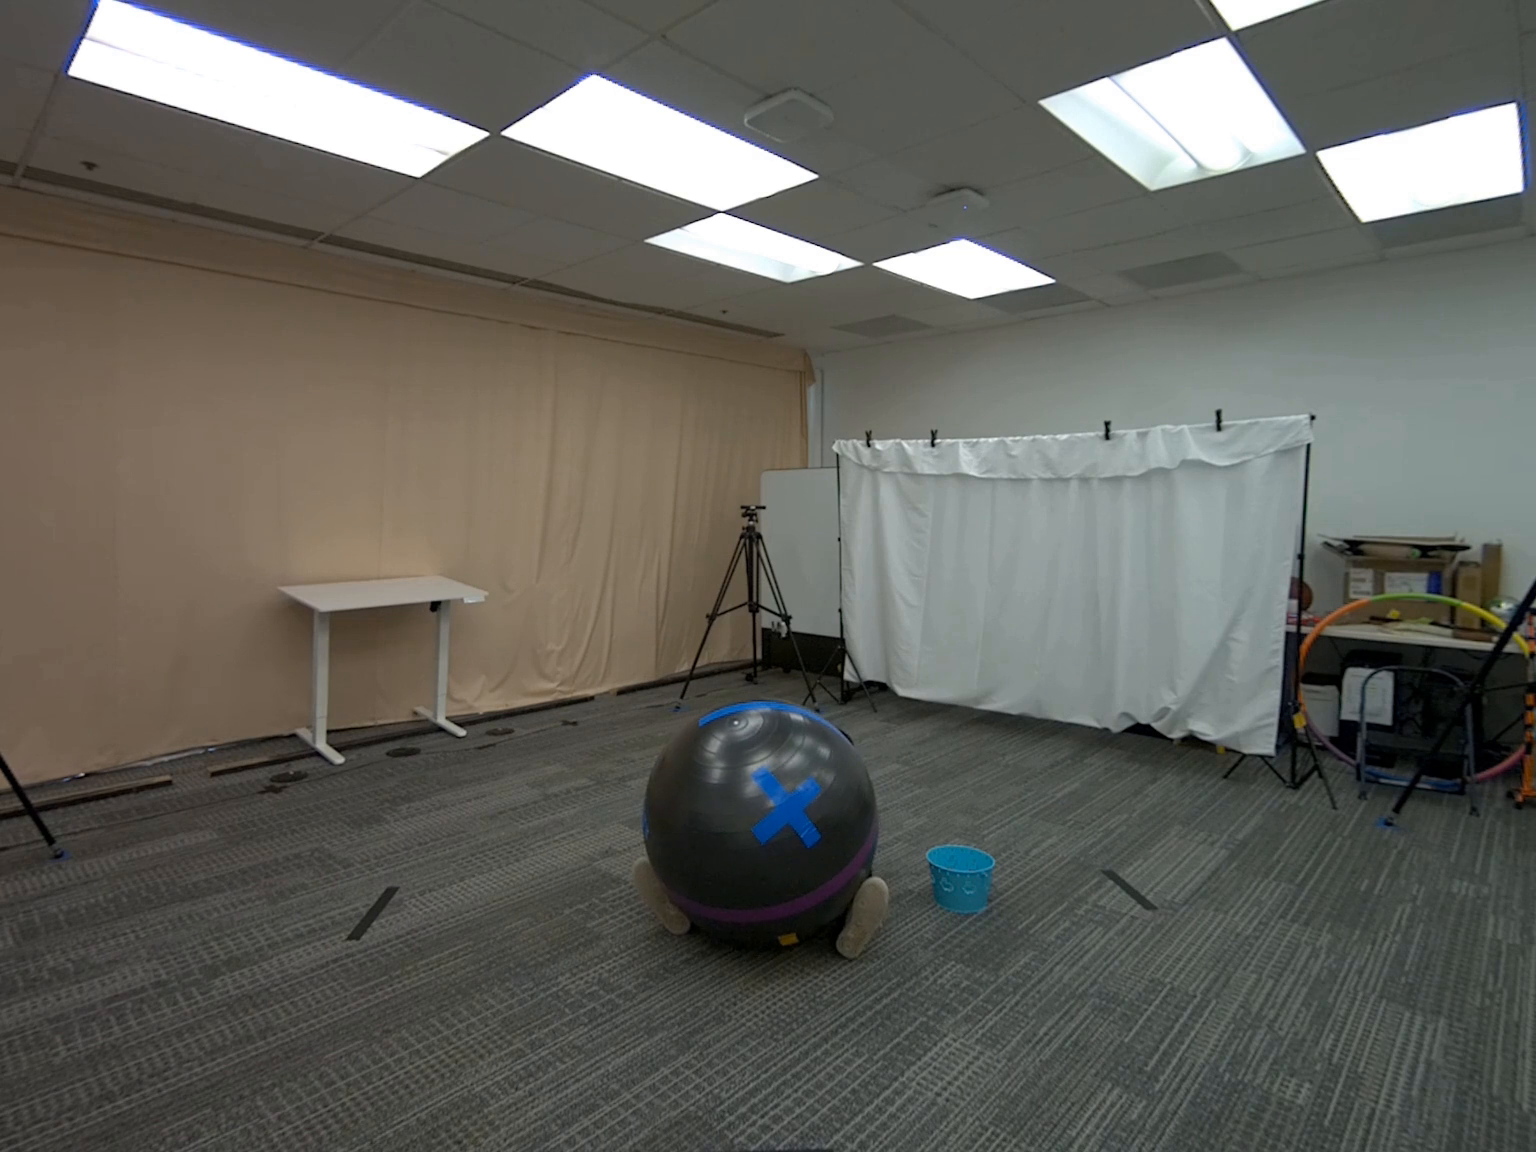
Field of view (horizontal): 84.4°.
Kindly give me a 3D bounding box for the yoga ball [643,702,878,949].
[{"bbox_3d":[-0.023,0.777,2.717,0.757,0.756,0.760,0,4,-2],"label":"yoga ball"}]
